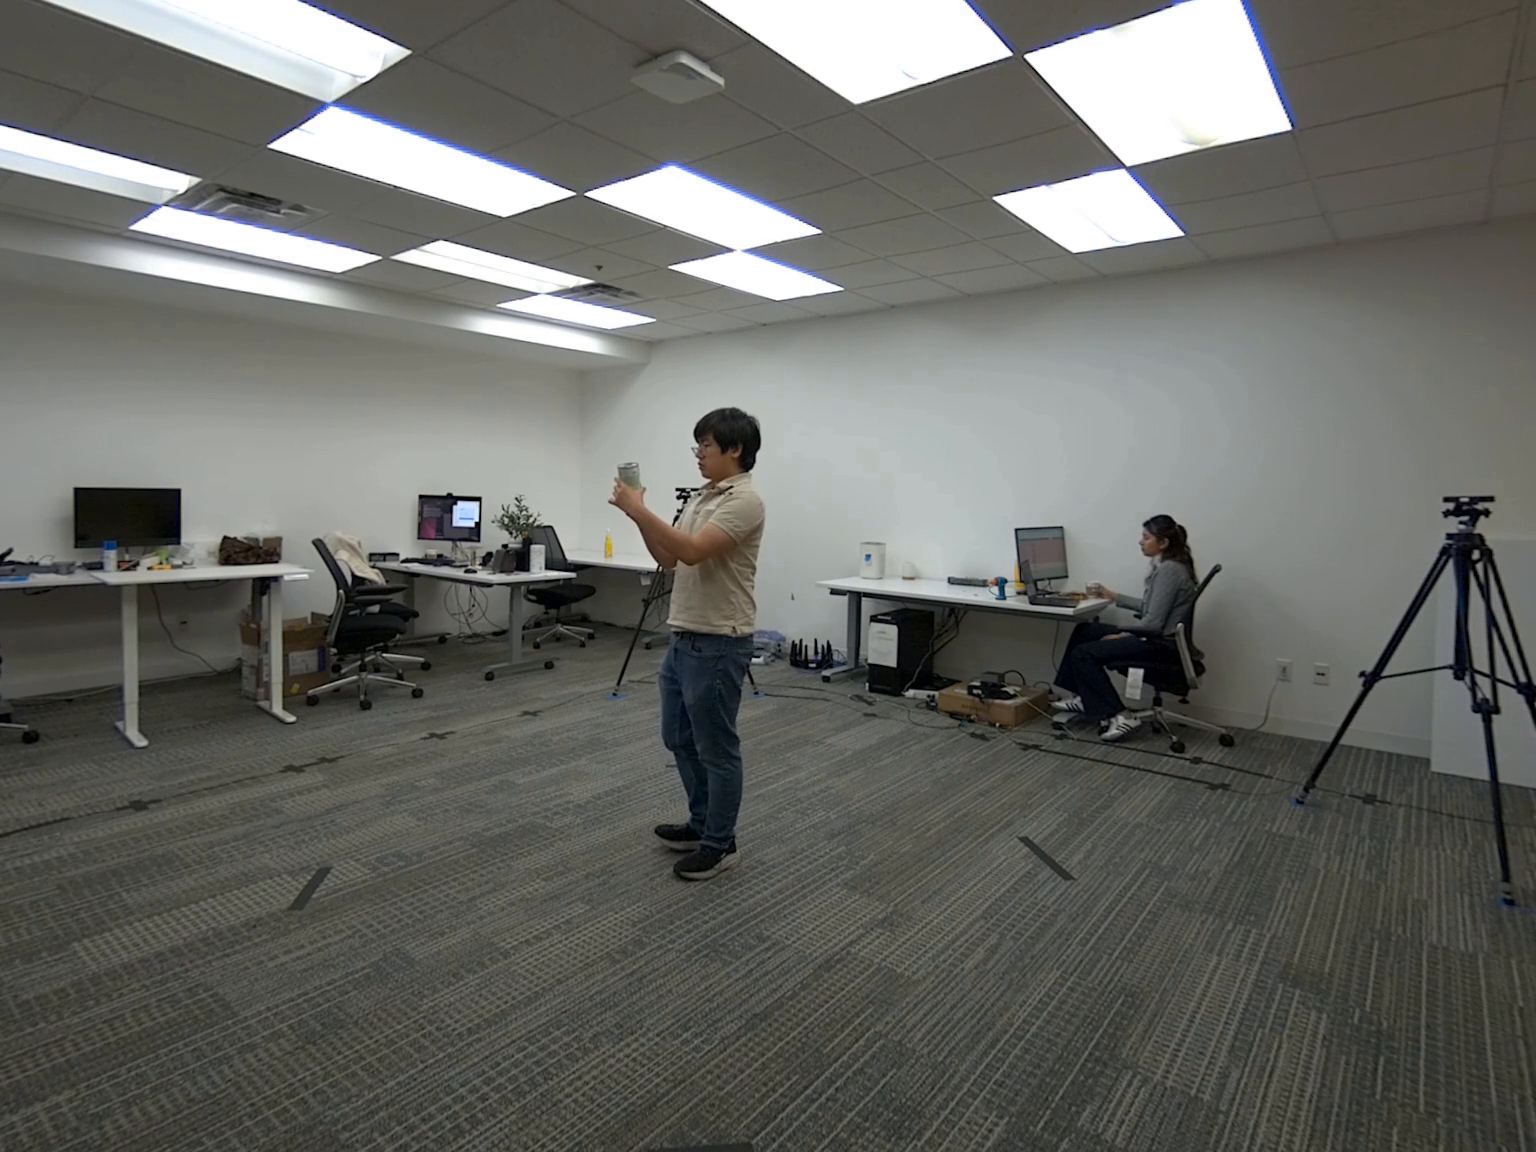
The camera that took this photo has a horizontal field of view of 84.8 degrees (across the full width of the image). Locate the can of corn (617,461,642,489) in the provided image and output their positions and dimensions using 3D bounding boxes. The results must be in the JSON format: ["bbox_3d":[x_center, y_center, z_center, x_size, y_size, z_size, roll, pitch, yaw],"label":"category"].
[{"bbox_3d":[-0.495,-0.338,2.964,0.074,0.109,0.075,-5,14,-1],"label":"can of corn"}]
